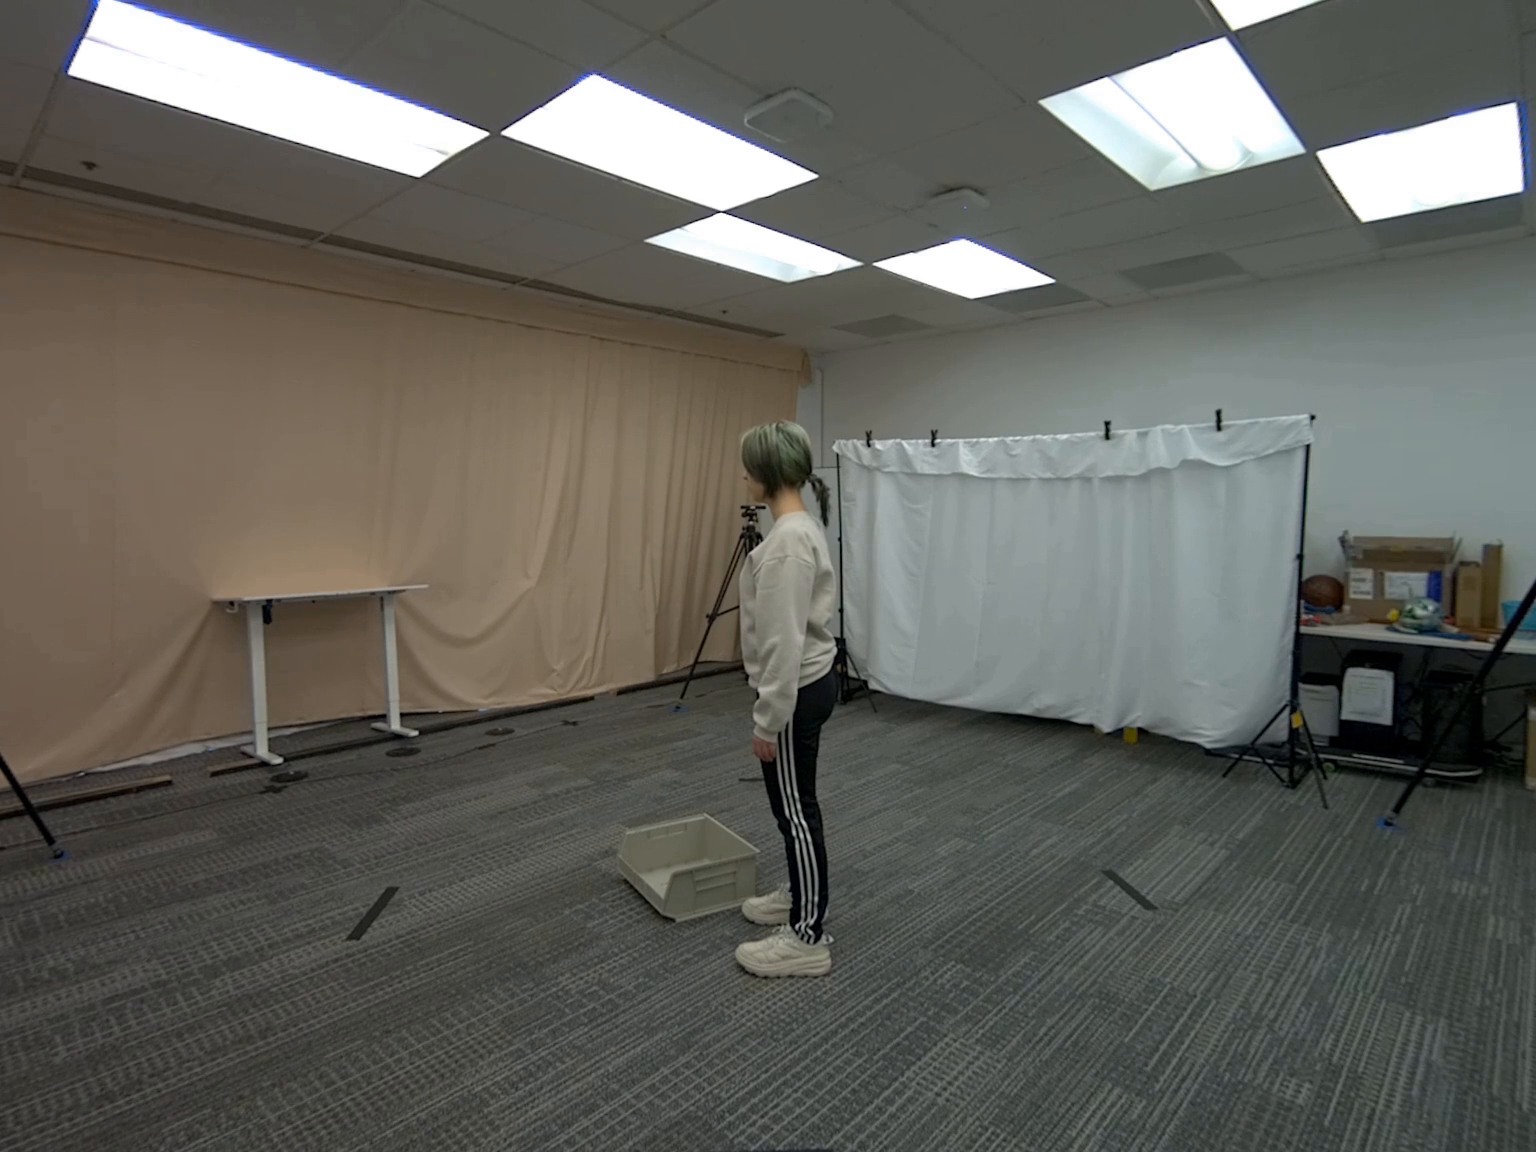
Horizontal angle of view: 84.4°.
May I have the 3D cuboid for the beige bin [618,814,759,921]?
[{"bbox_3d":[-0.296,1.052,3.053,0.367,0.188,0.435,-2,4,-31],"label":"beige bin"}]
